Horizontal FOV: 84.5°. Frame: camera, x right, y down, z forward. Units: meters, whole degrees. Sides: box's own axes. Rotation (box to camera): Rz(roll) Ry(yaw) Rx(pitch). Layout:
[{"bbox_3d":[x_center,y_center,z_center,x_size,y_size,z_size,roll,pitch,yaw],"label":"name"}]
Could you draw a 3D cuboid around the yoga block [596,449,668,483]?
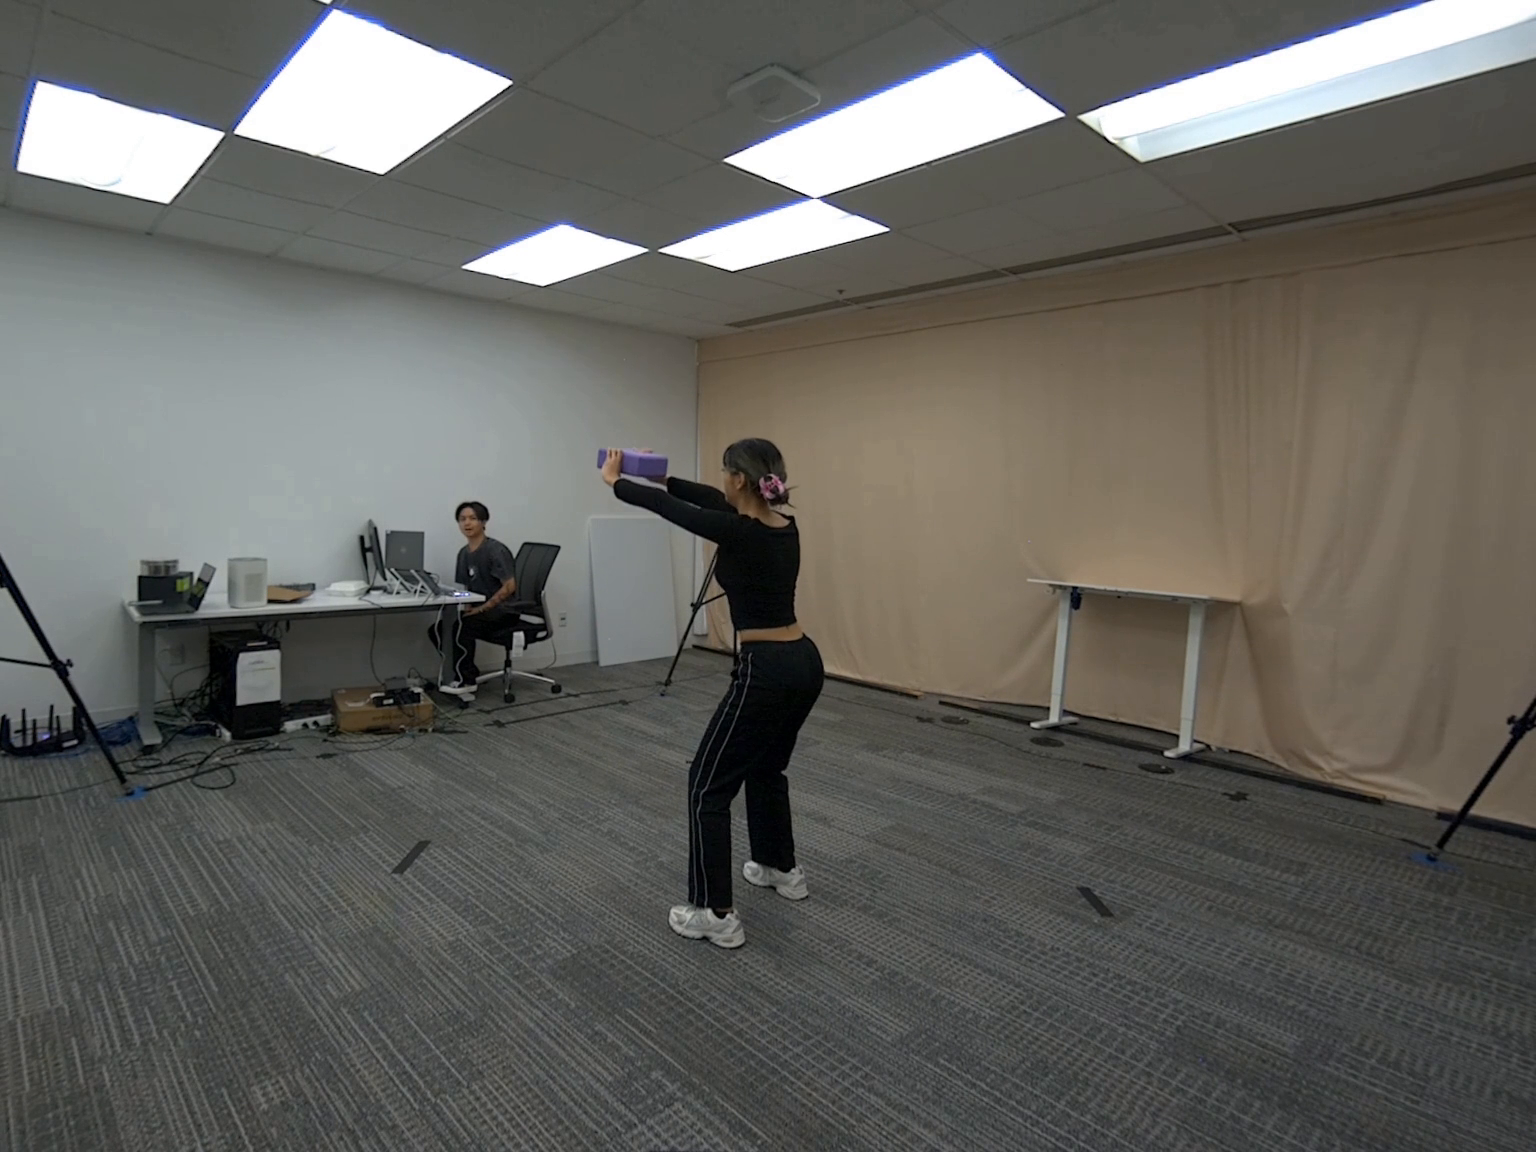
[{"bbox_3d":[-0.503,-0.413,3.058,0.235,0.076,0.146,13,13,31],"label":"yoga block"}]
